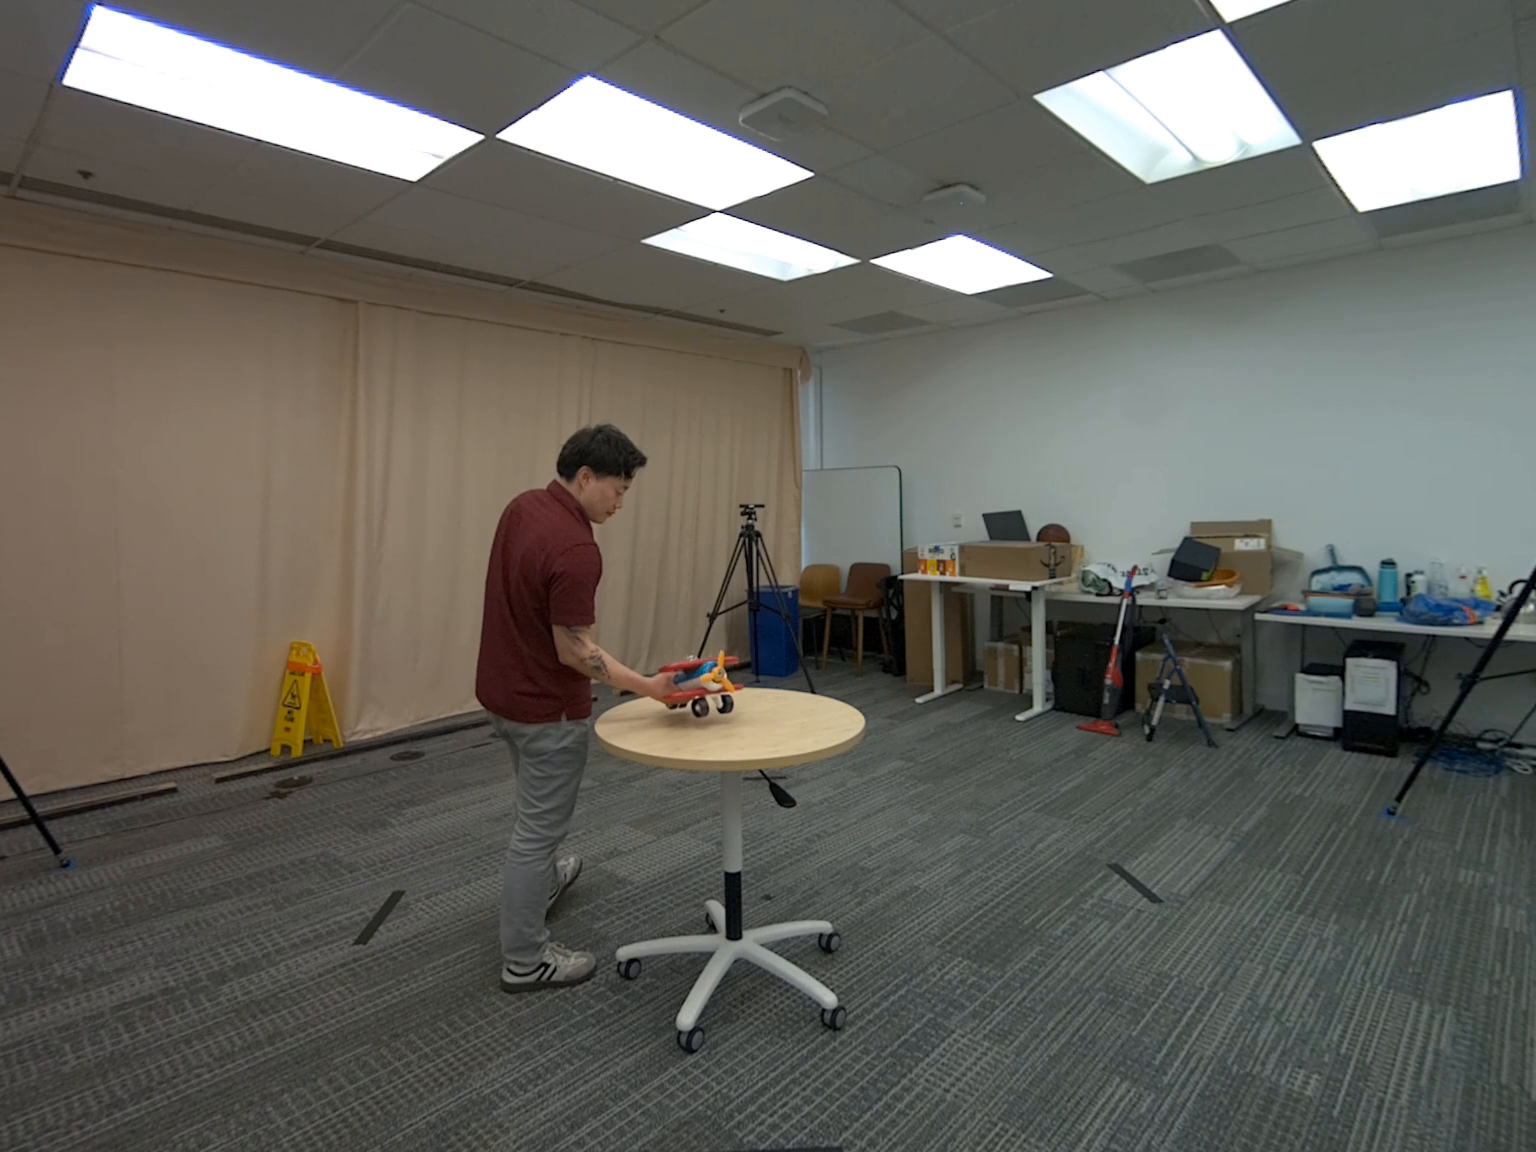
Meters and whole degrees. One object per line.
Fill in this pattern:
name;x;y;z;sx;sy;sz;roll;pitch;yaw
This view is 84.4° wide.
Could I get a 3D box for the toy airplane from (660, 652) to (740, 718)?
toy airplane;-0.217;0.312;2.374;0.265;0.156;0.245;-1;0;24
